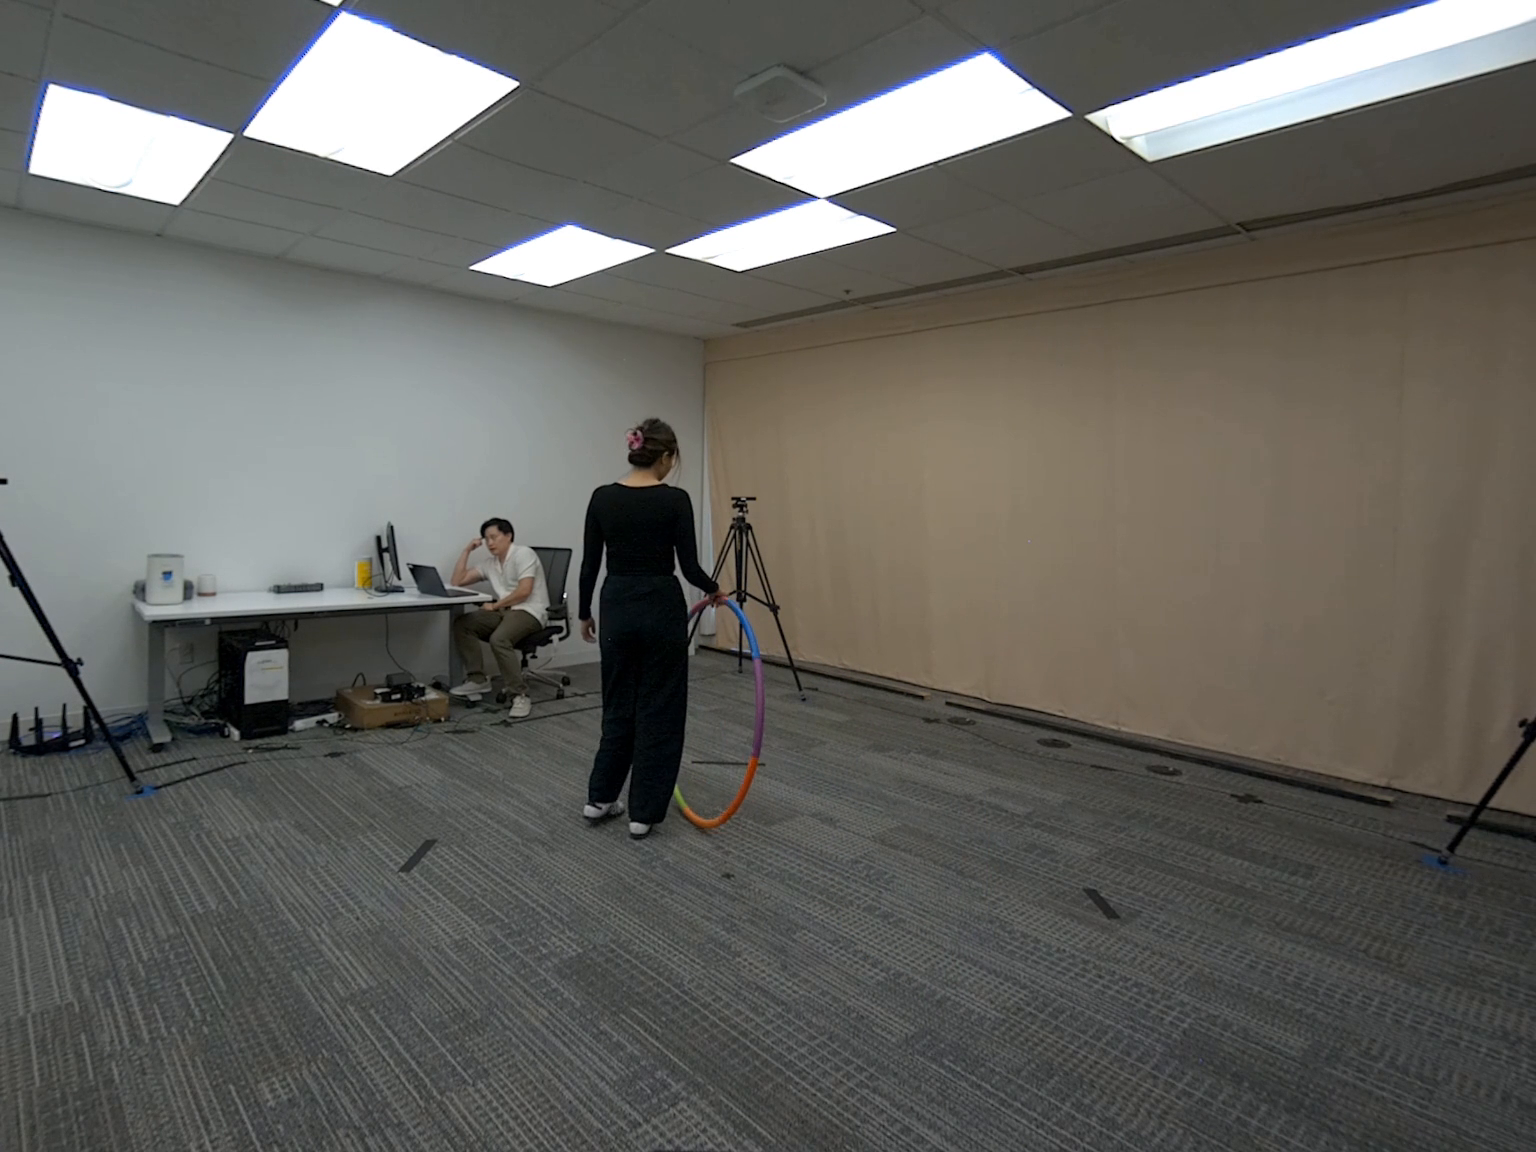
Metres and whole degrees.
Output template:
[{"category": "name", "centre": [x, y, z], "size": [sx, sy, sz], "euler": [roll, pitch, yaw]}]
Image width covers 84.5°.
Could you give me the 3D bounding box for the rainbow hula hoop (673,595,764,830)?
[{"category": "rainbow hula hoop", "centre": [-0.264, 0.573, 3.621], "size": [0.035, 0.978, 0.999], "euler": [9, 0, -28]}]
